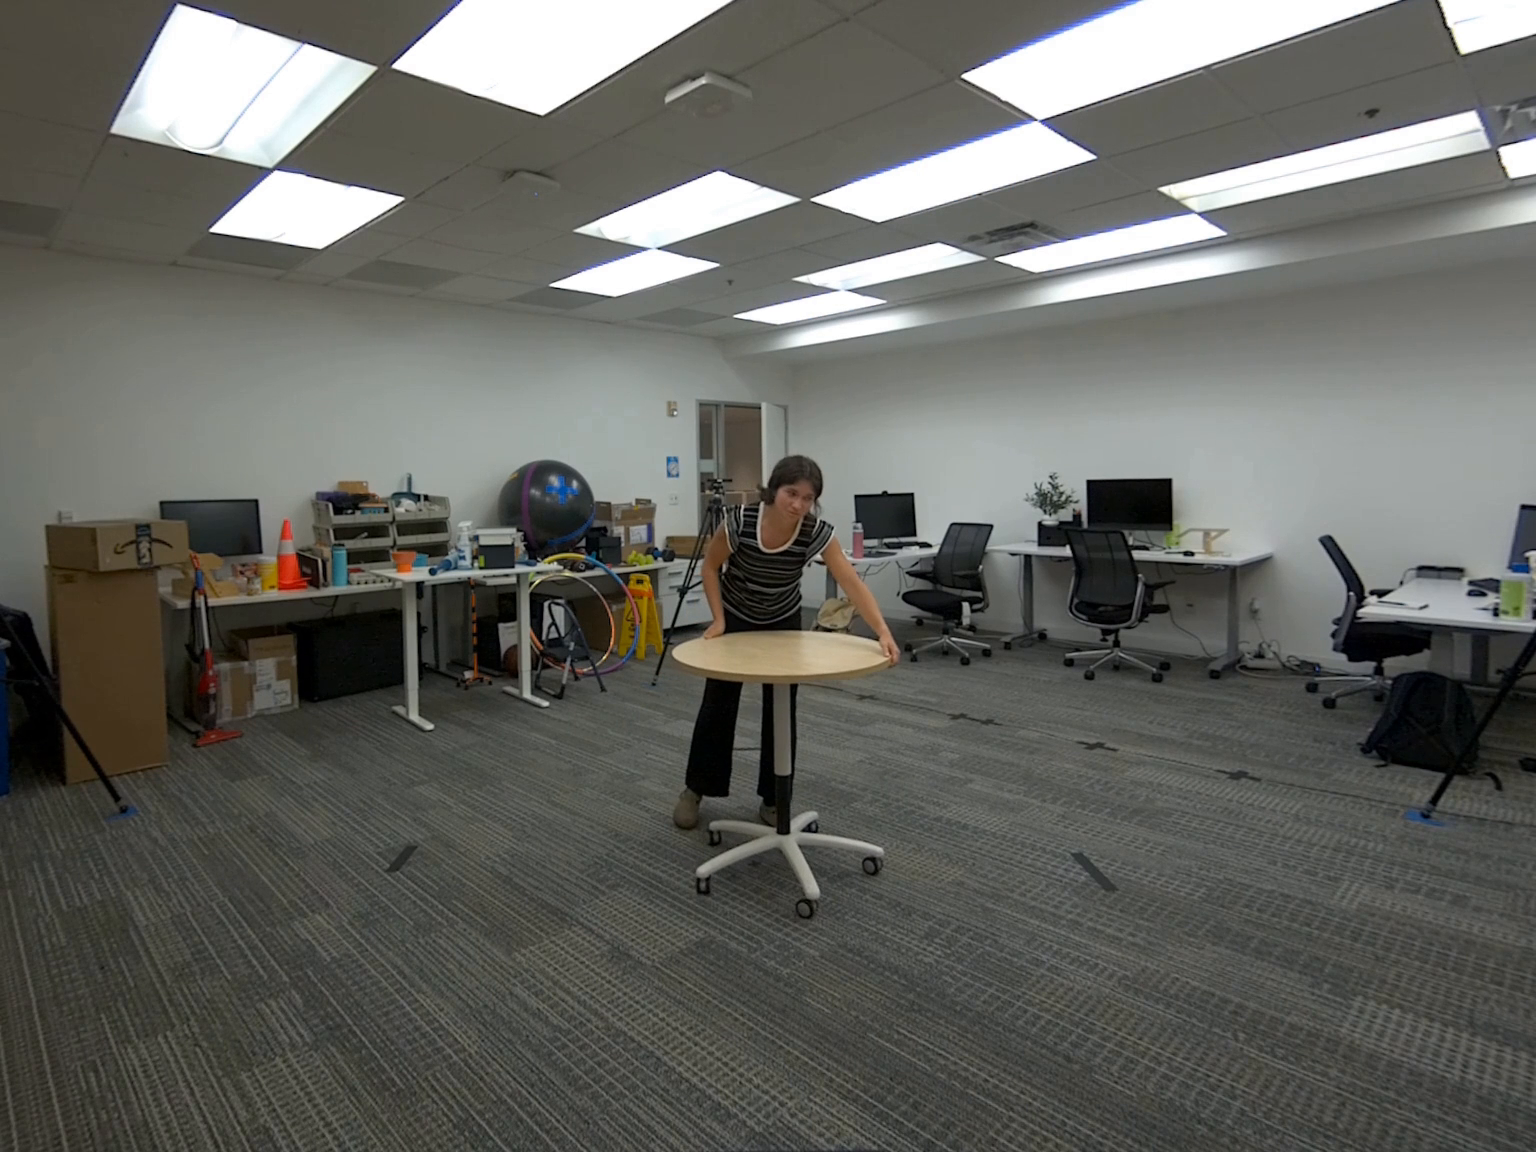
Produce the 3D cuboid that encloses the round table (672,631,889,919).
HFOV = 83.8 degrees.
[{"bbox_3d":[0.050,0.661,3.008,0.763,0.791,0.768,-1,5,-2],"label":"round table"}]
